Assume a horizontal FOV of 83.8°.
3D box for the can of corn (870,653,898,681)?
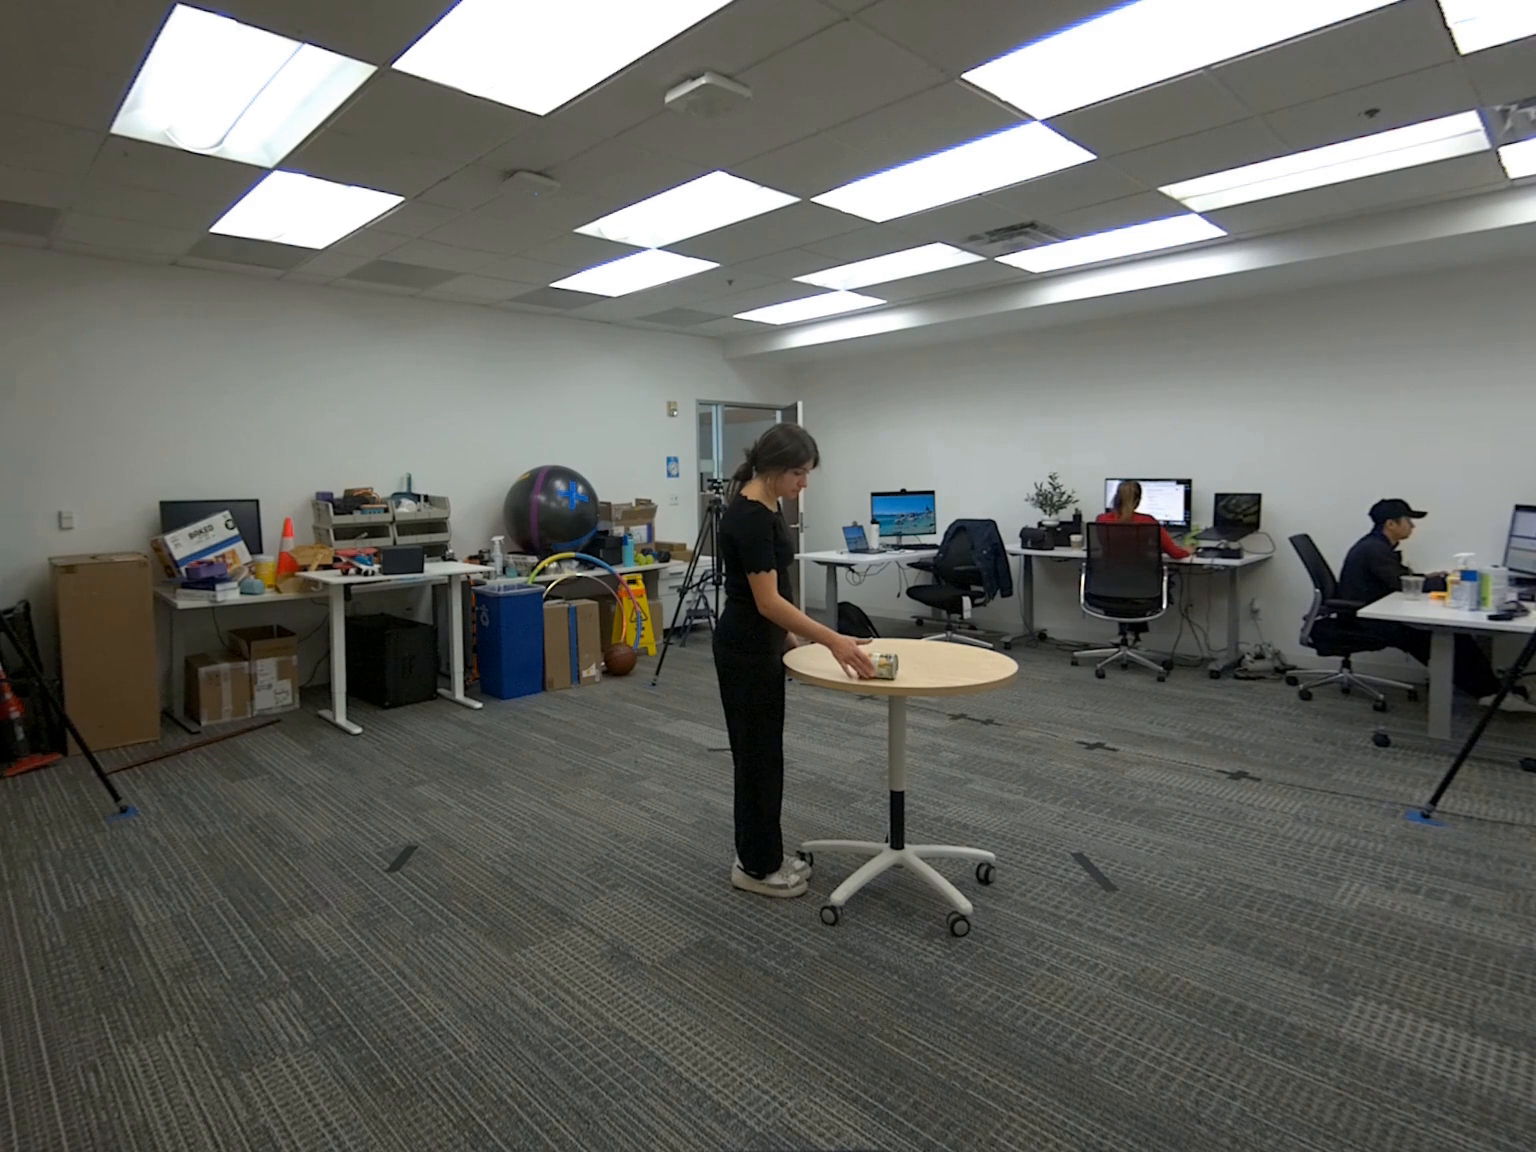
[{"bbox_3d":[0.343,0.274,2.598,0.113,0.074,0.073,2,5,18],"label":"can of corn"}]
